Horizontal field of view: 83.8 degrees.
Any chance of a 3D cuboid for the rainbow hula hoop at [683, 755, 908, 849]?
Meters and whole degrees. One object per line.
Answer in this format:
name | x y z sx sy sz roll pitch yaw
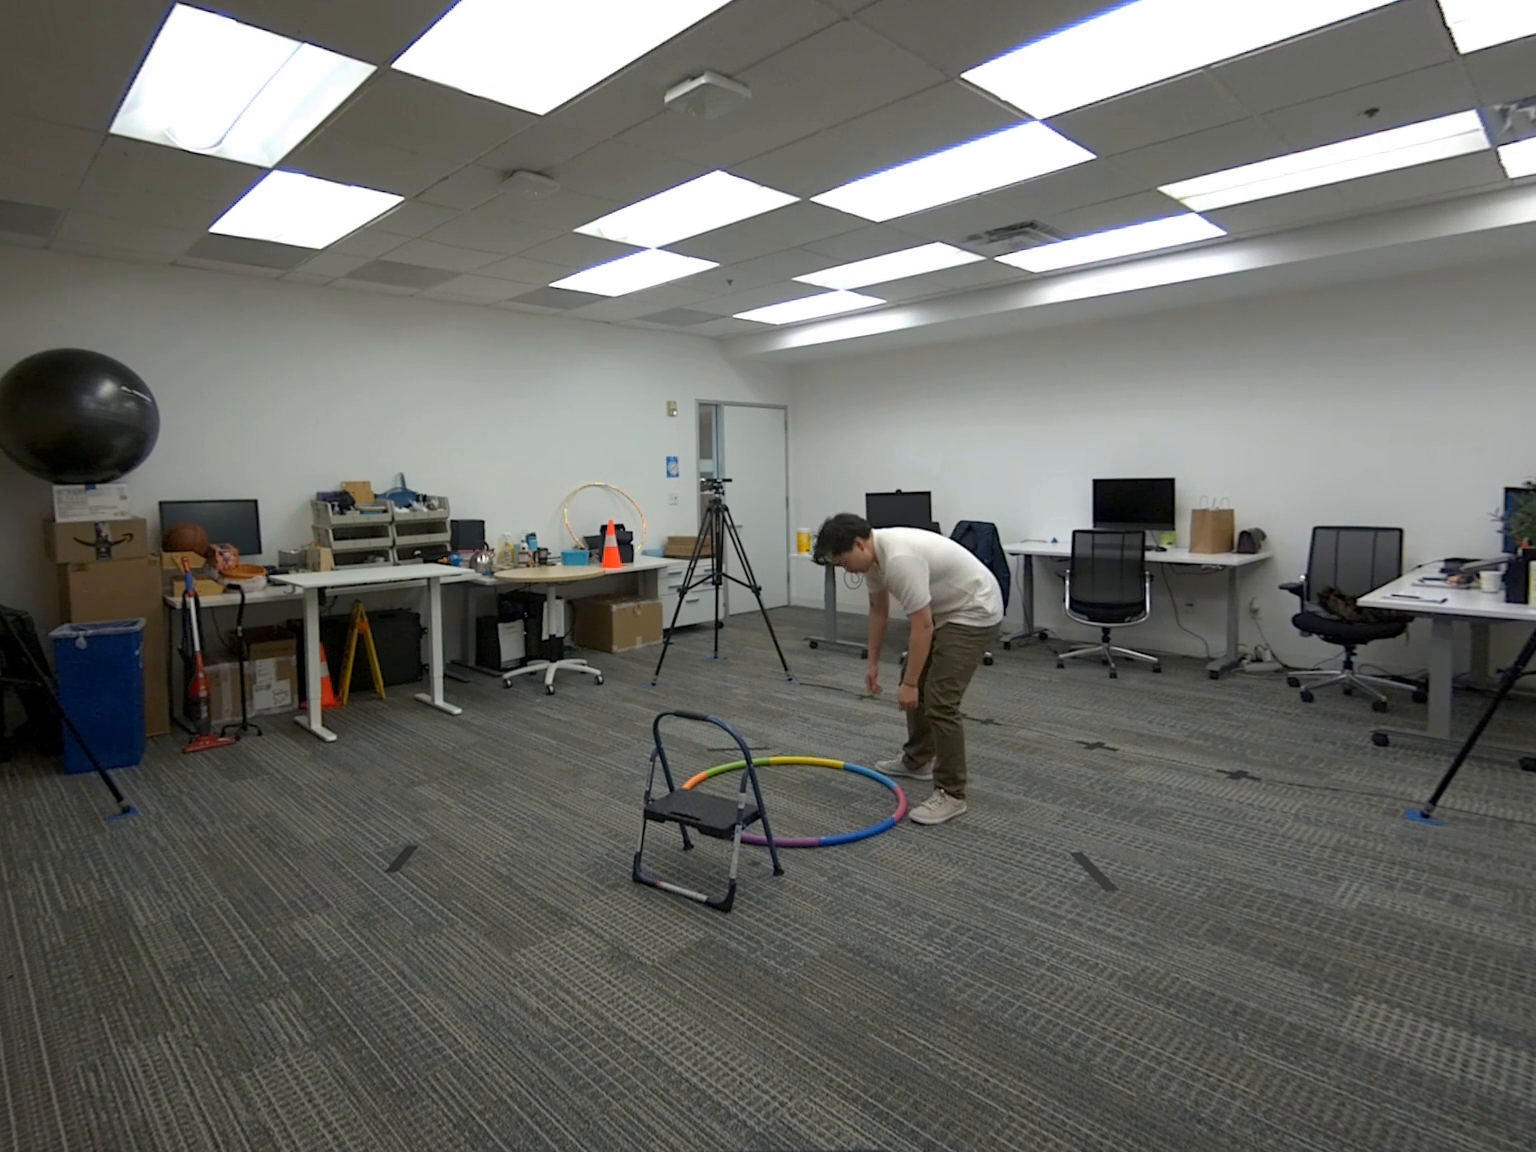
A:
rainbow hula hoop | 0.098 0.945 3.712 0.978 0.035 0.984 -1 6 -2
